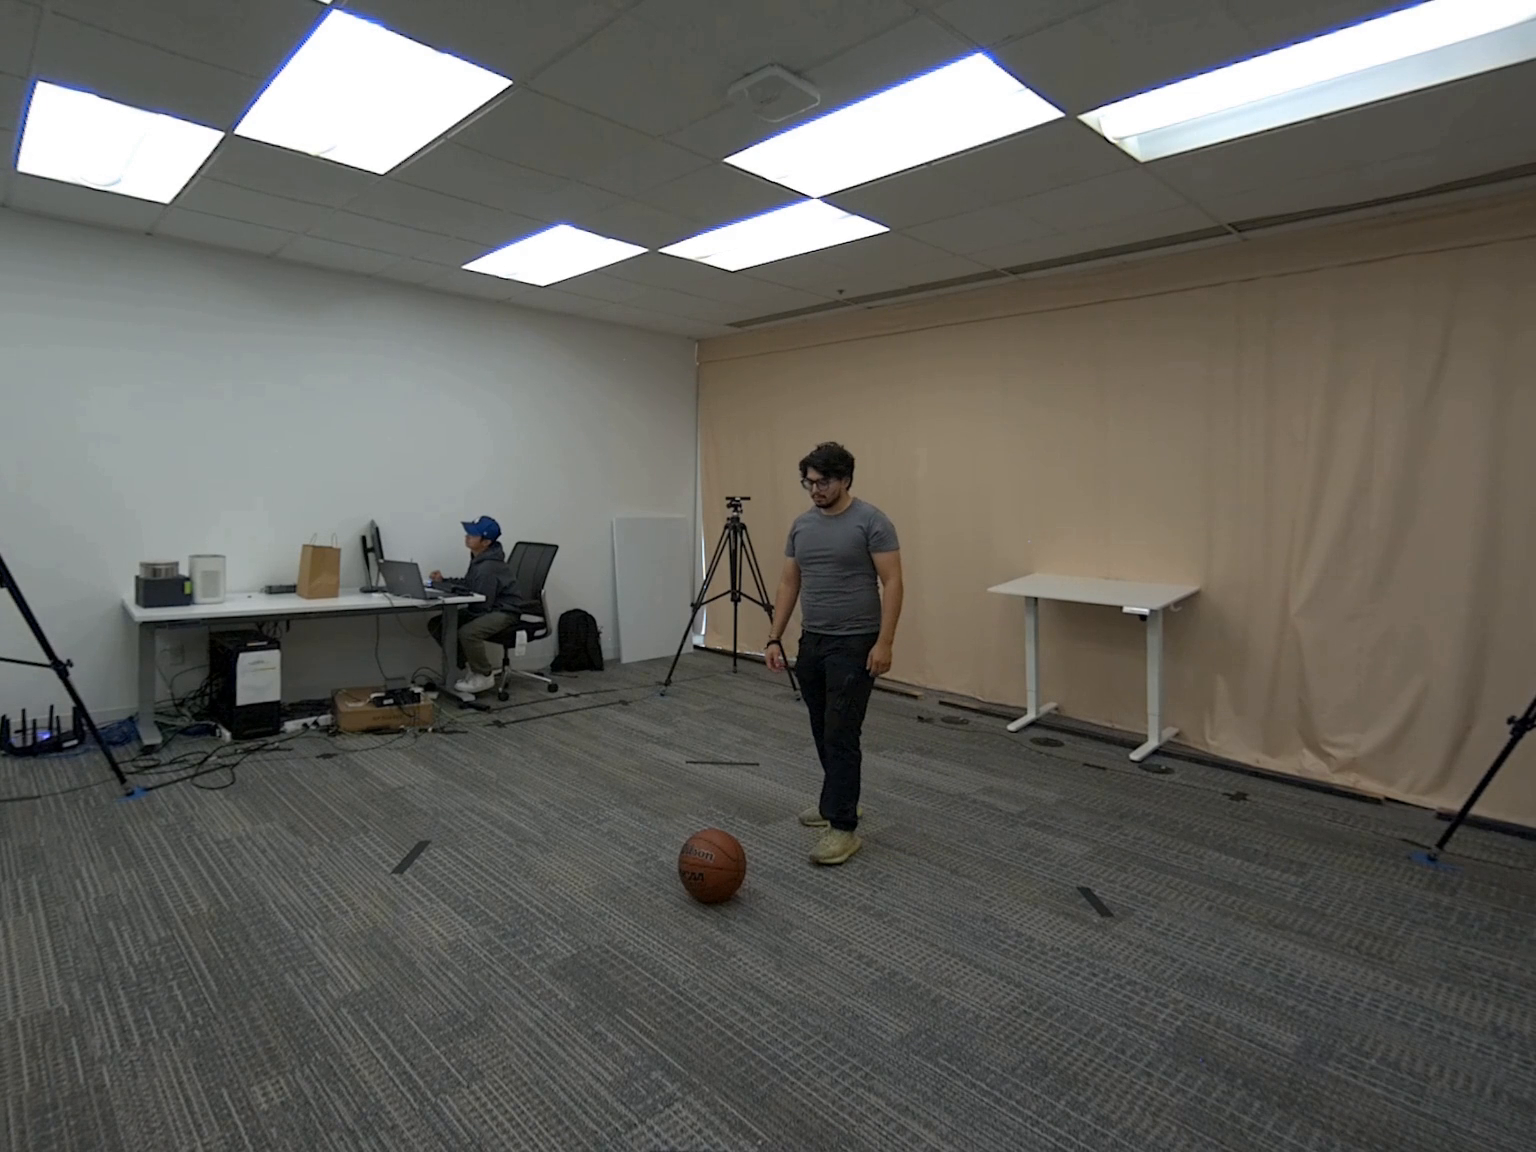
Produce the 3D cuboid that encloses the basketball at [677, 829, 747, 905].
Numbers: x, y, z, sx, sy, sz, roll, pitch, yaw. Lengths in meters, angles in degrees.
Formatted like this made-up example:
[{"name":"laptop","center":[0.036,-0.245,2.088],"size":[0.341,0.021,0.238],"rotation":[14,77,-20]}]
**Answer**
[{"name":"basketball","center":[-0.196,1.003,2.919],"size":[0.236,0.235,0.237],"rotation":[1,4,-1]}]
